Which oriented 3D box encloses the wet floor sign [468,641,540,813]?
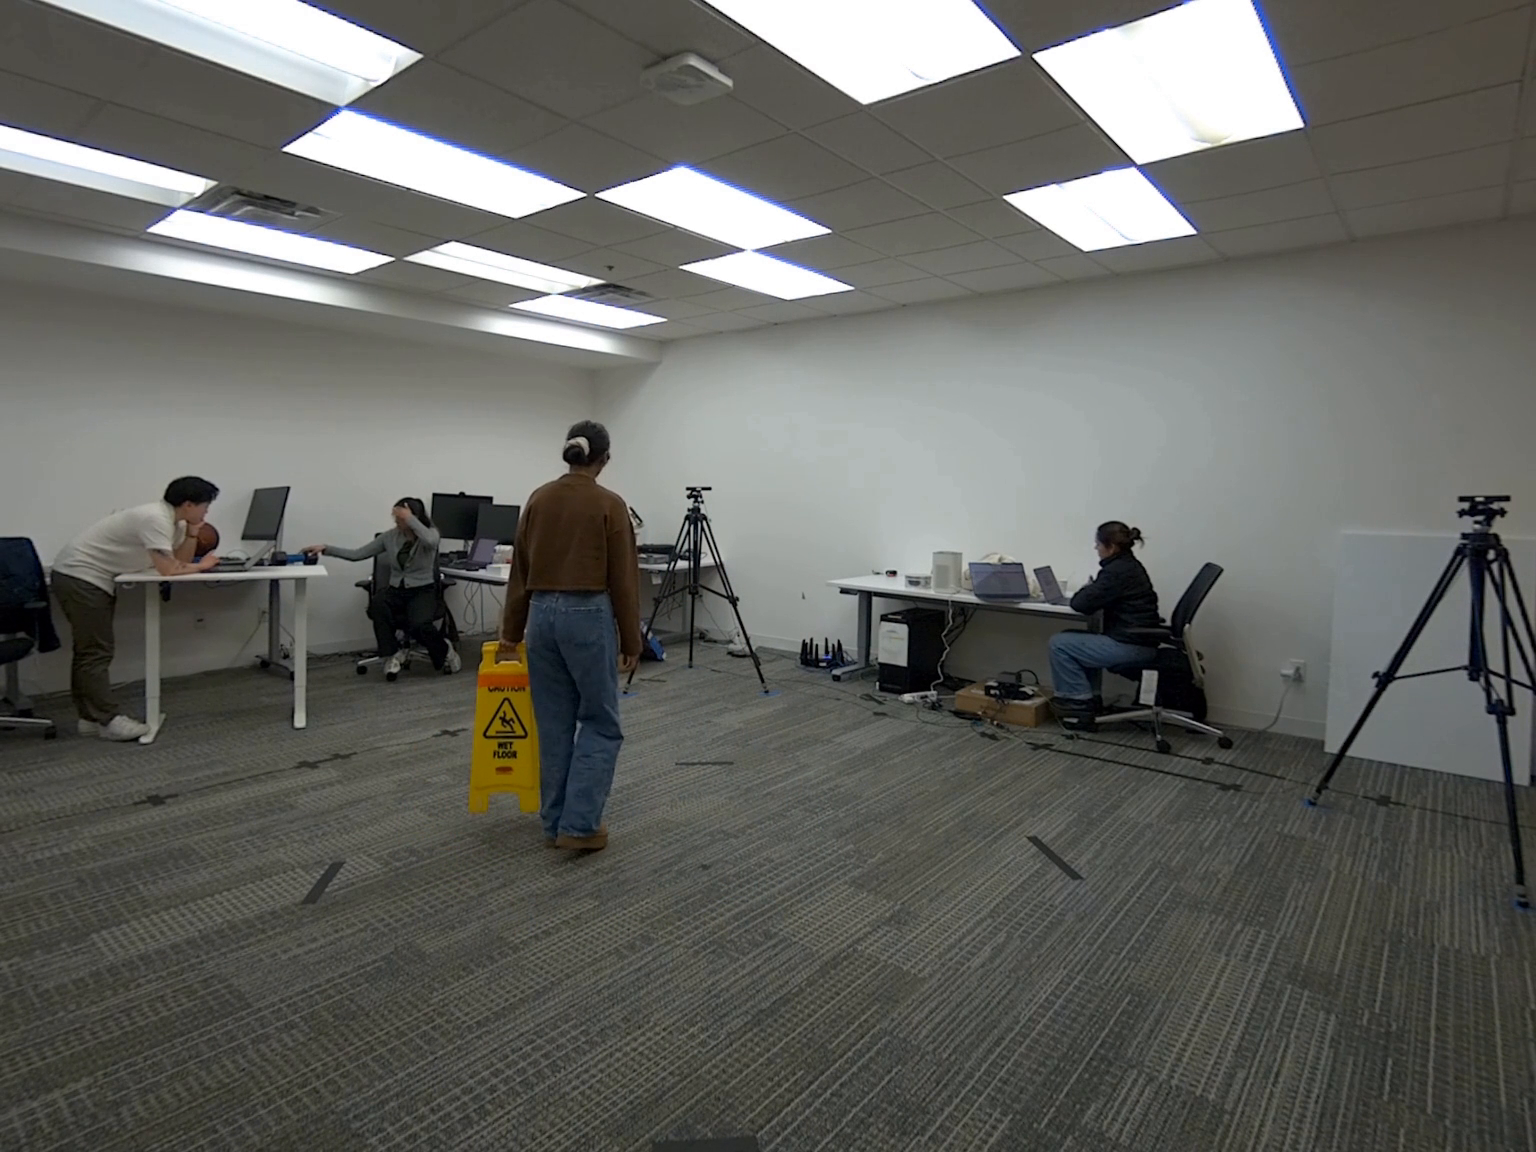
[{"bbox_3d":[-1.069,0.592,3.452,0.282,0.643,0.291,-1,6,-2],"label":"wet floor sign"}]
